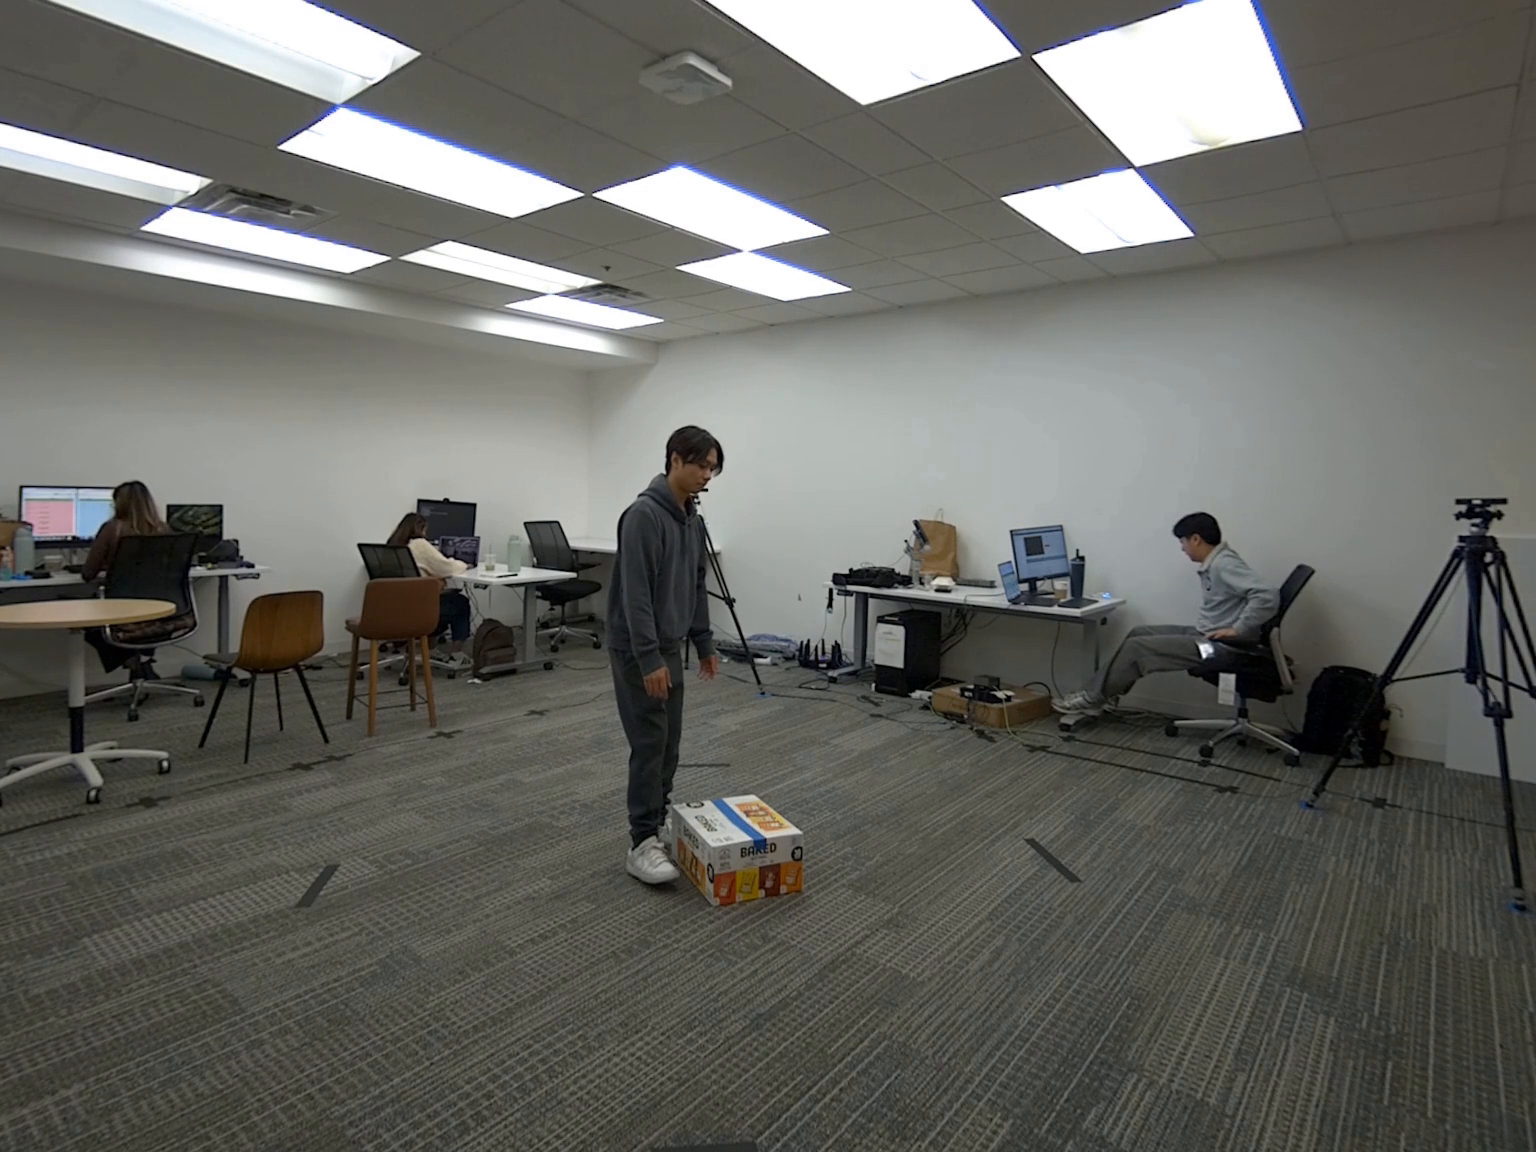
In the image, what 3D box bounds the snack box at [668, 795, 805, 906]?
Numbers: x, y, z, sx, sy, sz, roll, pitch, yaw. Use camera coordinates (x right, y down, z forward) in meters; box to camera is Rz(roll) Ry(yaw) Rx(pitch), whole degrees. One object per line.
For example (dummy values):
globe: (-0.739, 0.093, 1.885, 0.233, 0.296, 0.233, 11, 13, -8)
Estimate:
snack box: (-0.129, 0.973, 3.068, 0.332, 0.205, 0.416, -1, 6, -25)
